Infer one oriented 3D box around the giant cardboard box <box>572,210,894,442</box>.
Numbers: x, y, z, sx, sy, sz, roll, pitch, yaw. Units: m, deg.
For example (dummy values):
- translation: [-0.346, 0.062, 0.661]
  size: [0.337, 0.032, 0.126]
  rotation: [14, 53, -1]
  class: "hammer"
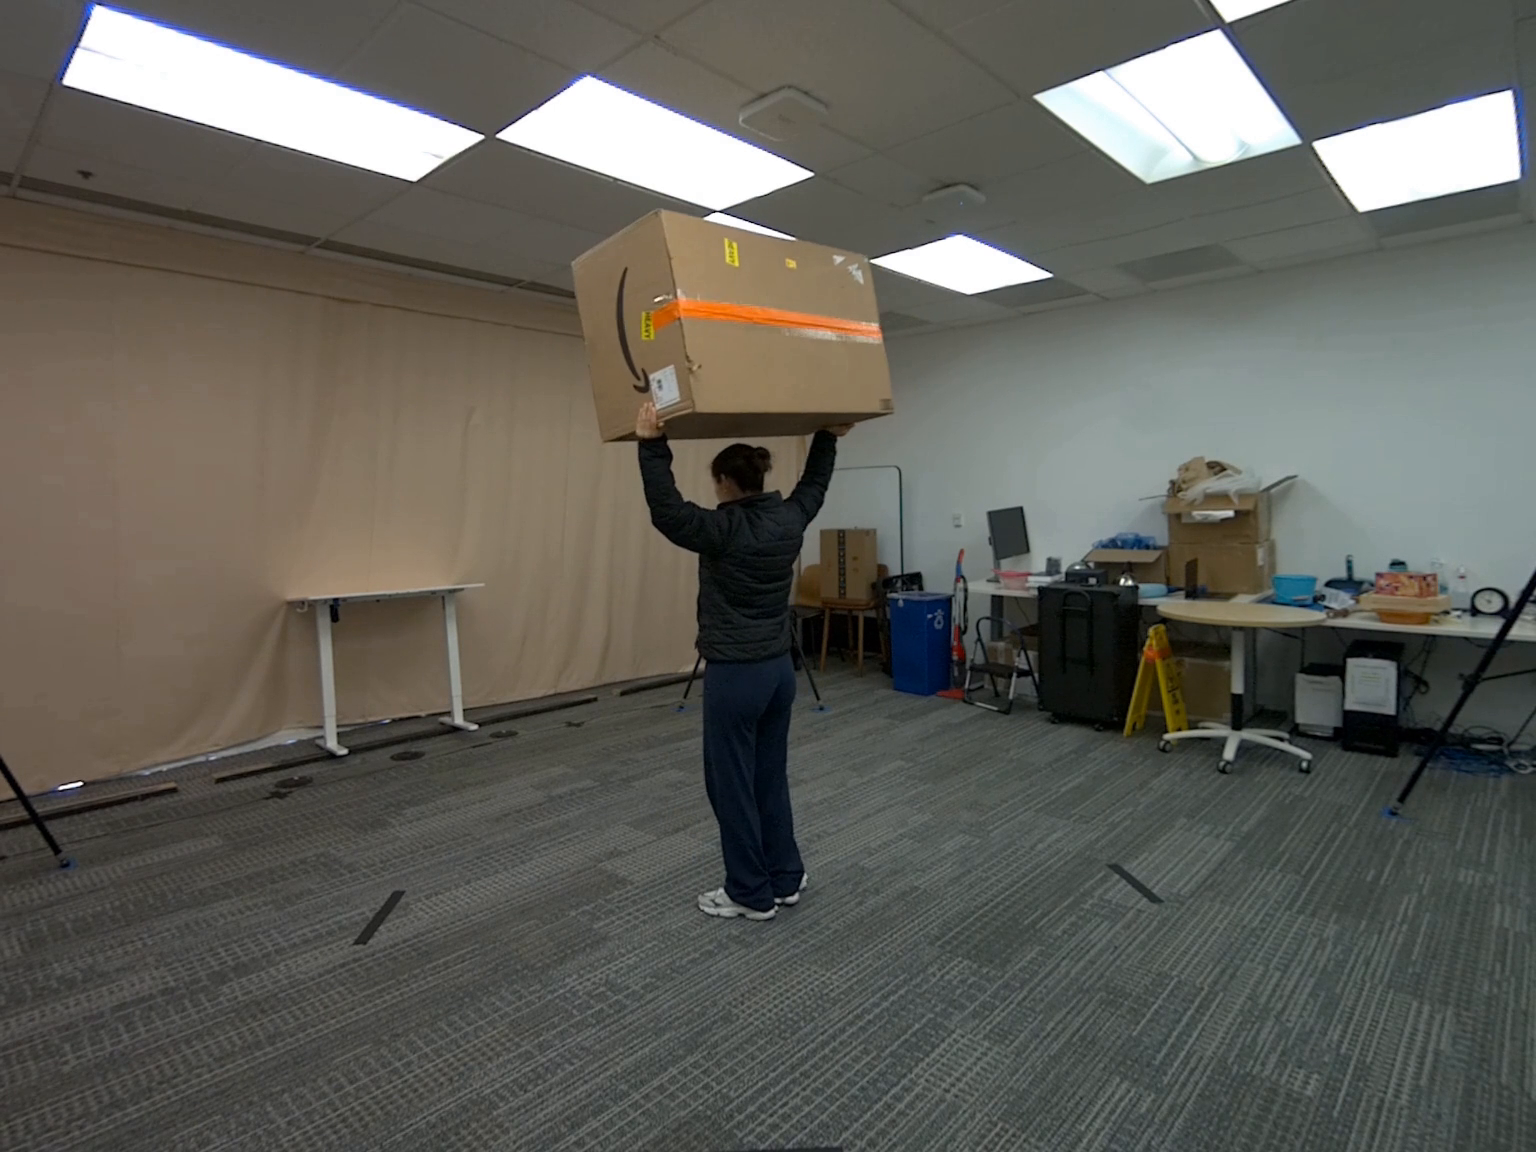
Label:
- translation: [-0.061, -0.777, 2.822]
  size: [0.460, 0.583, 0.998]
  rotation: [-8, 3, 42]
  class: "giant cardboard box"
